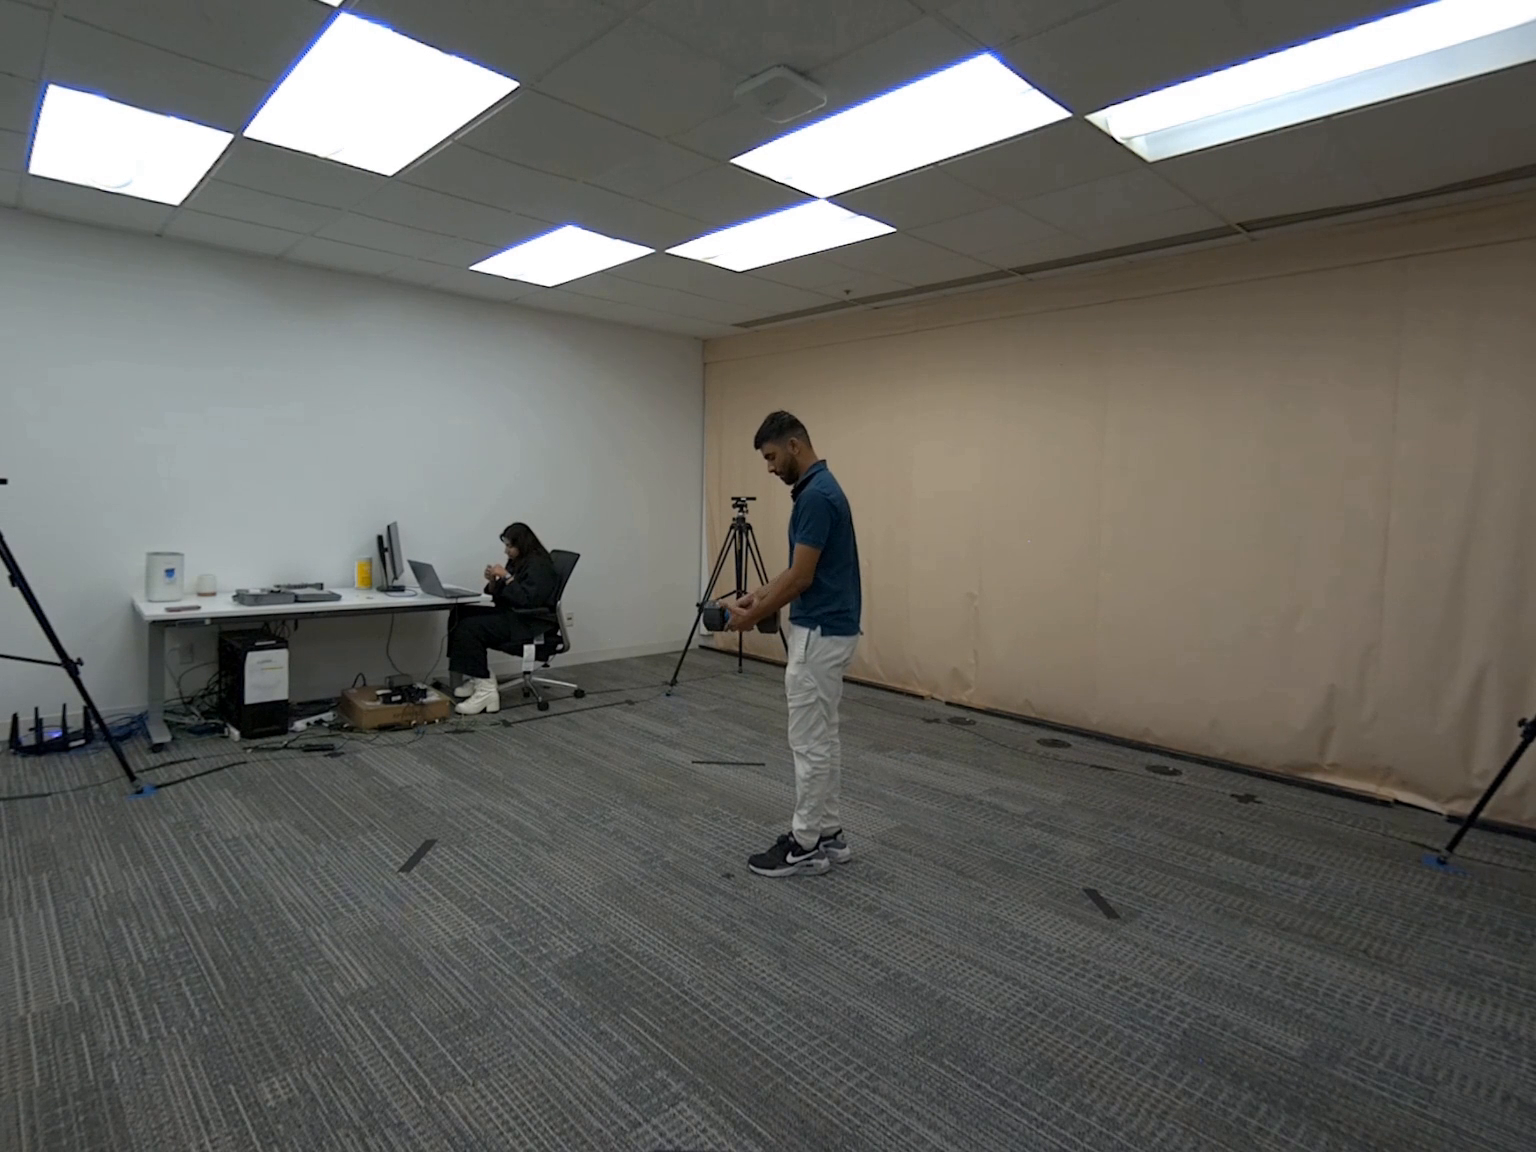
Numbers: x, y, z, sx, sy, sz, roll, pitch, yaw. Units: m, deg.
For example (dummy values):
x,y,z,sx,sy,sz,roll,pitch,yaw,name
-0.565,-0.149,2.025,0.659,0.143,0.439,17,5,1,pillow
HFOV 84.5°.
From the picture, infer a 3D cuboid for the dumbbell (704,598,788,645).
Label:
x,y,z,sx,sy,sz,roll,pitch,yaw,name
-0.084,0.171,3.262,0.297,0.107,0.124,3,27,13,dumbbell
